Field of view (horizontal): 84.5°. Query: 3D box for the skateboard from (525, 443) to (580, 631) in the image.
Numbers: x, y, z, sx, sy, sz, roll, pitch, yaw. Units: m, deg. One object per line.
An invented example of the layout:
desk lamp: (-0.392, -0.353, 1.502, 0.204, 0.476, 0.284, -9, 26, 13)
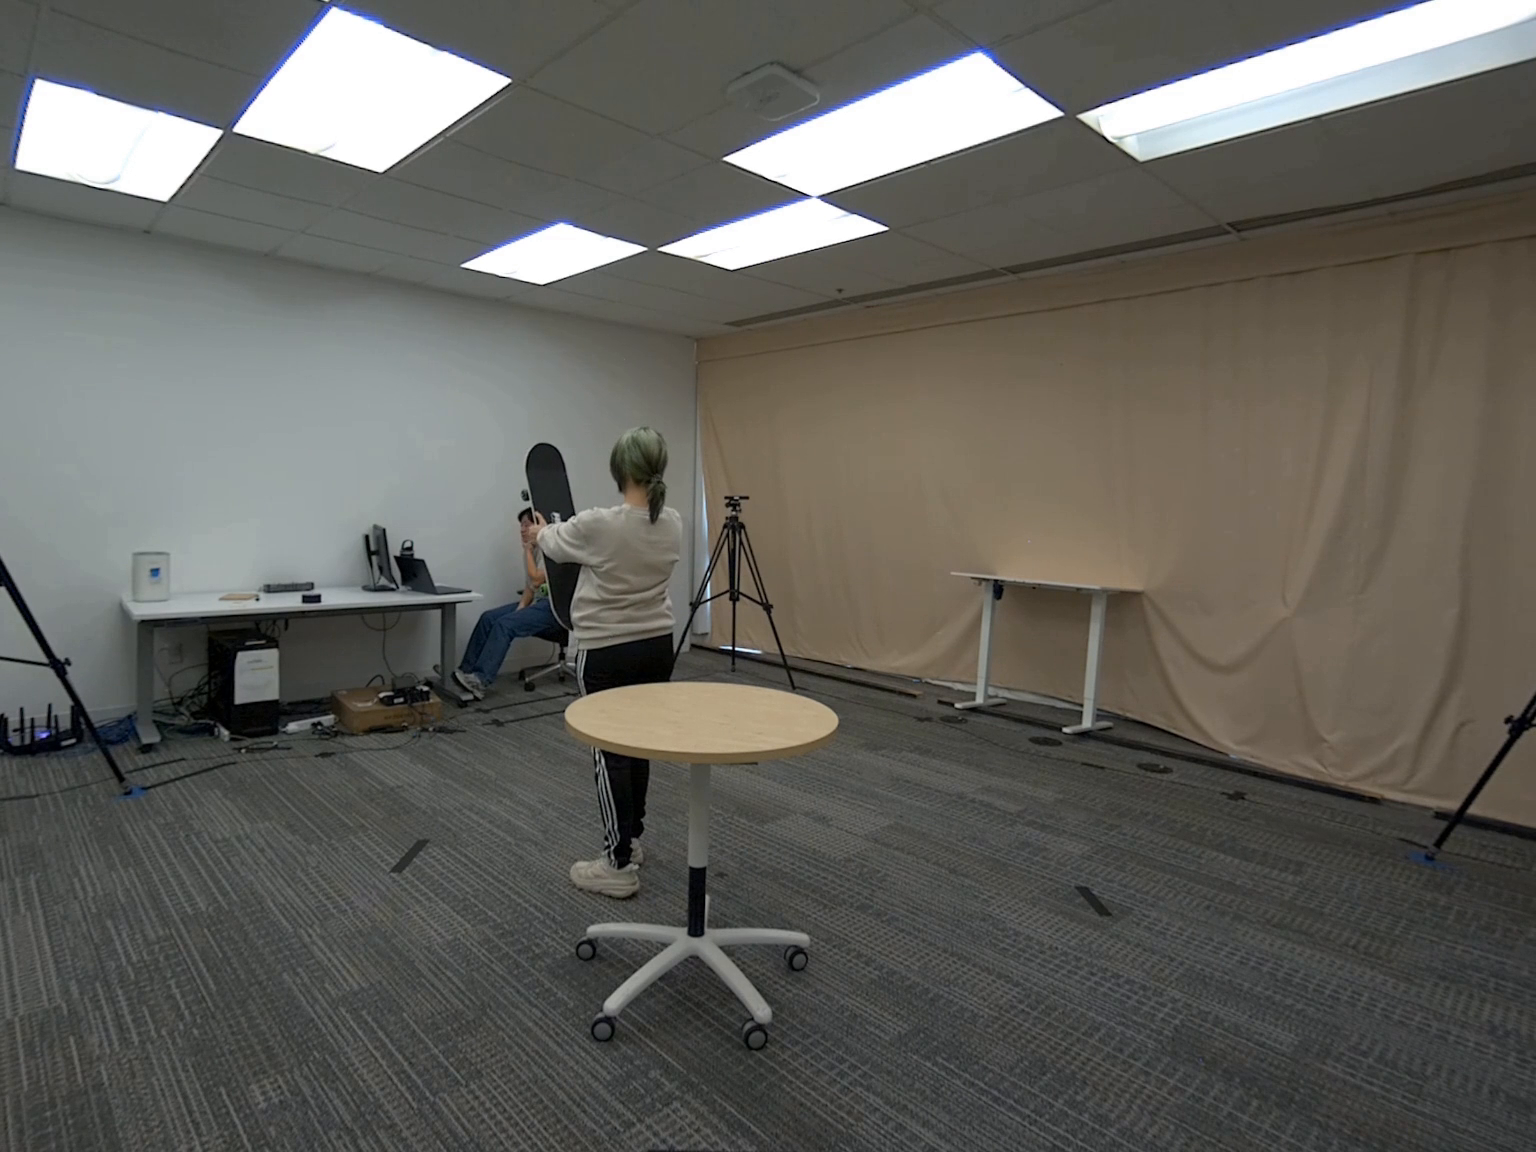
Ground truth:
skateboard: (-0.877, -0.150, 3.460, 0.189, 0.788, 0.112, -8, -6, -44)
